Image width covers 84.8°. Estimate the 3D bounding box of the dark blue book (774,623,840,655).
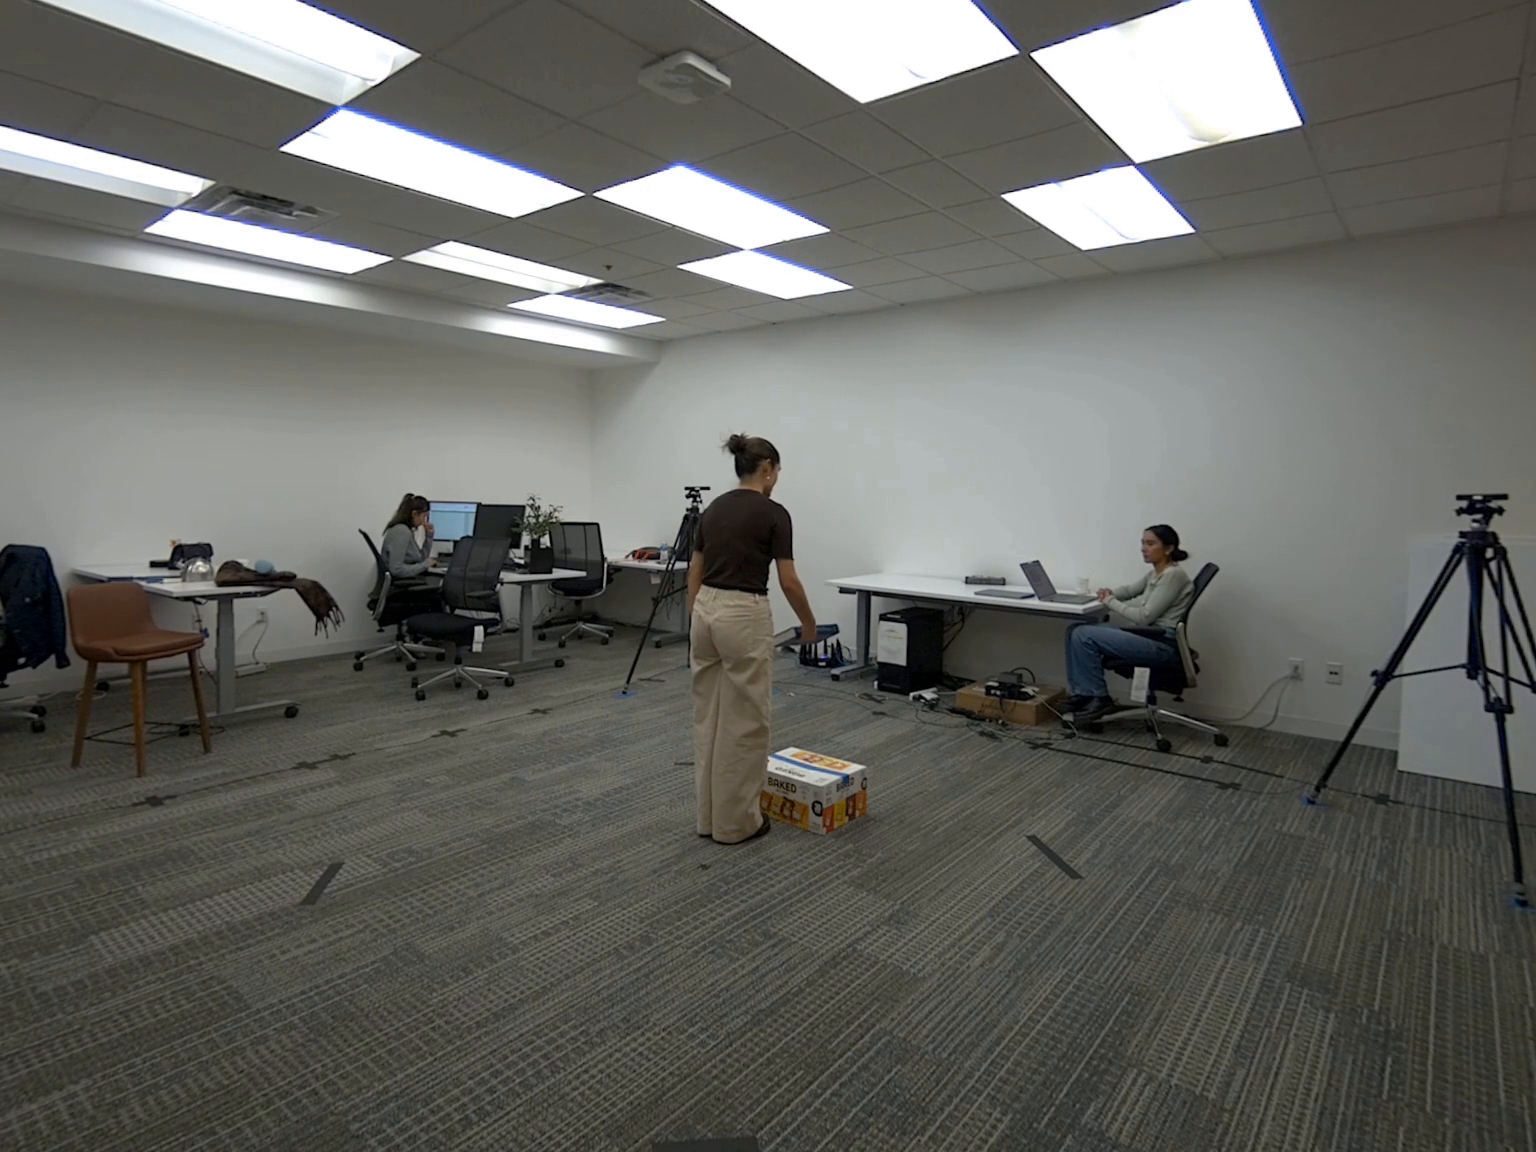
[{"bbox_3d":[0.143,0.253,3.585,0.238,0.046,0.164,-2,-19,-31],"label":"dark blue book"}]
